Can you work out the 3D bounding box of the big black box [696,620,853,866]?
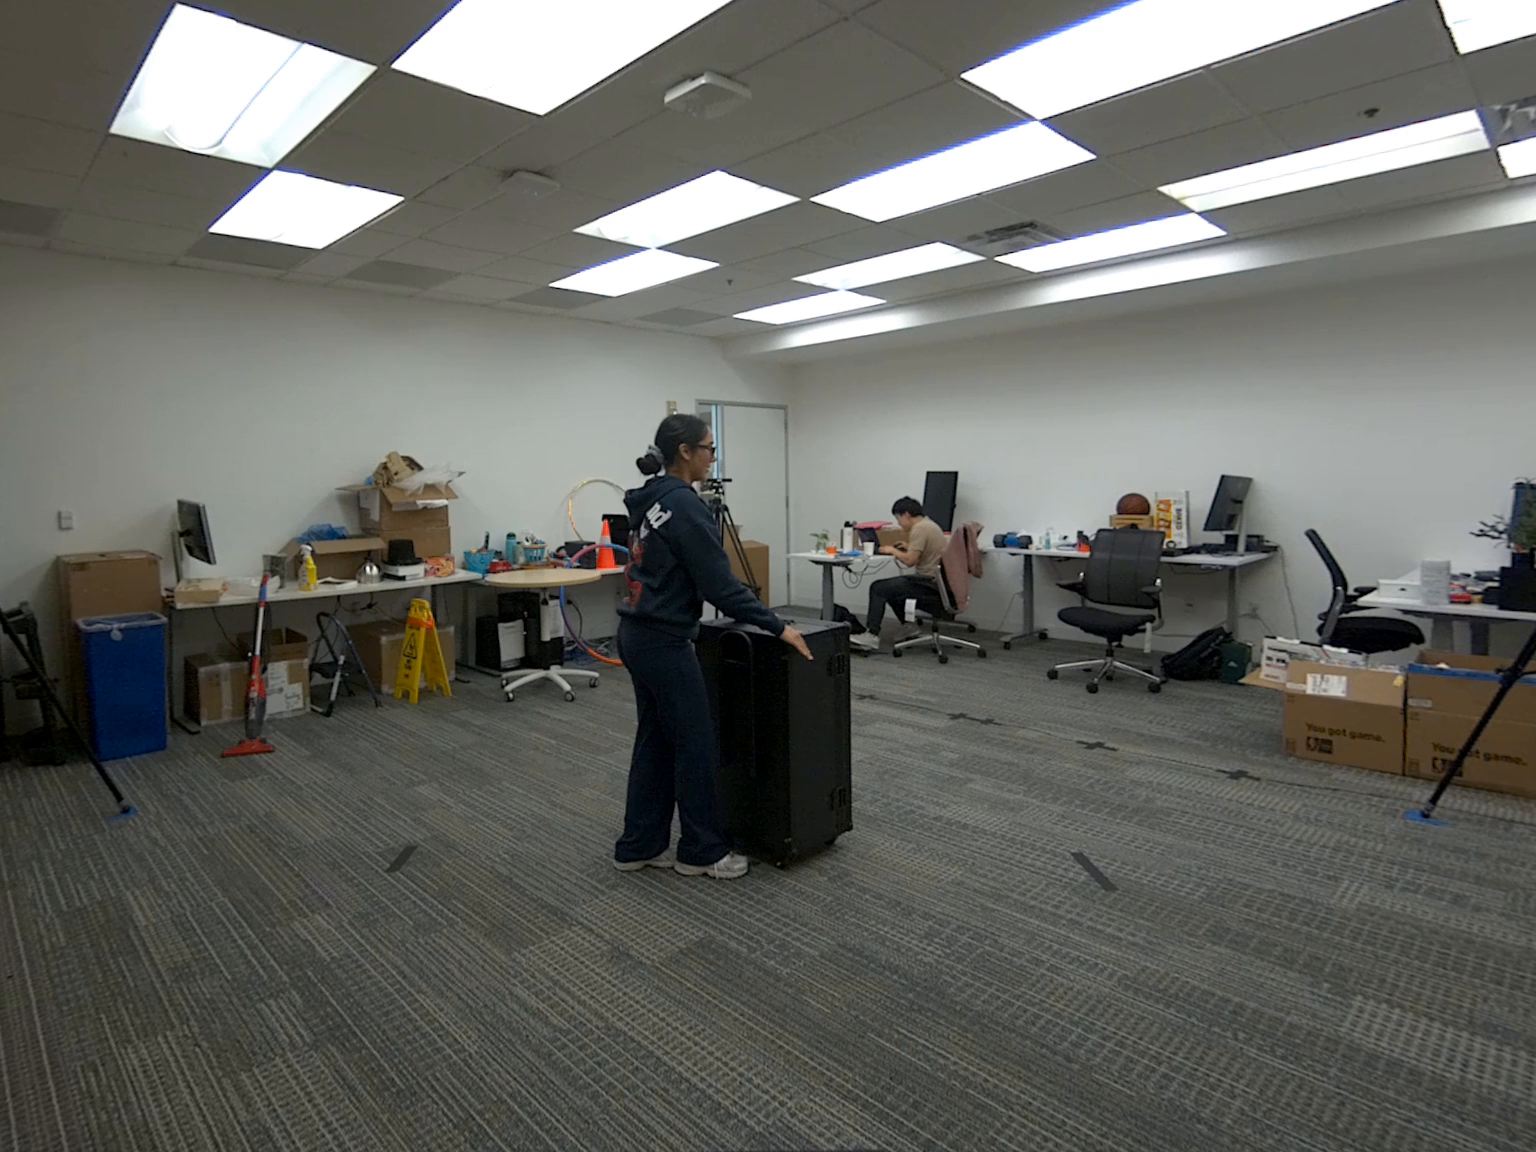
[{"bbox_3d":[0.021,0.603,3.239,0.537,0.858,0.386,4,7,44],"label":"big black box"}]
